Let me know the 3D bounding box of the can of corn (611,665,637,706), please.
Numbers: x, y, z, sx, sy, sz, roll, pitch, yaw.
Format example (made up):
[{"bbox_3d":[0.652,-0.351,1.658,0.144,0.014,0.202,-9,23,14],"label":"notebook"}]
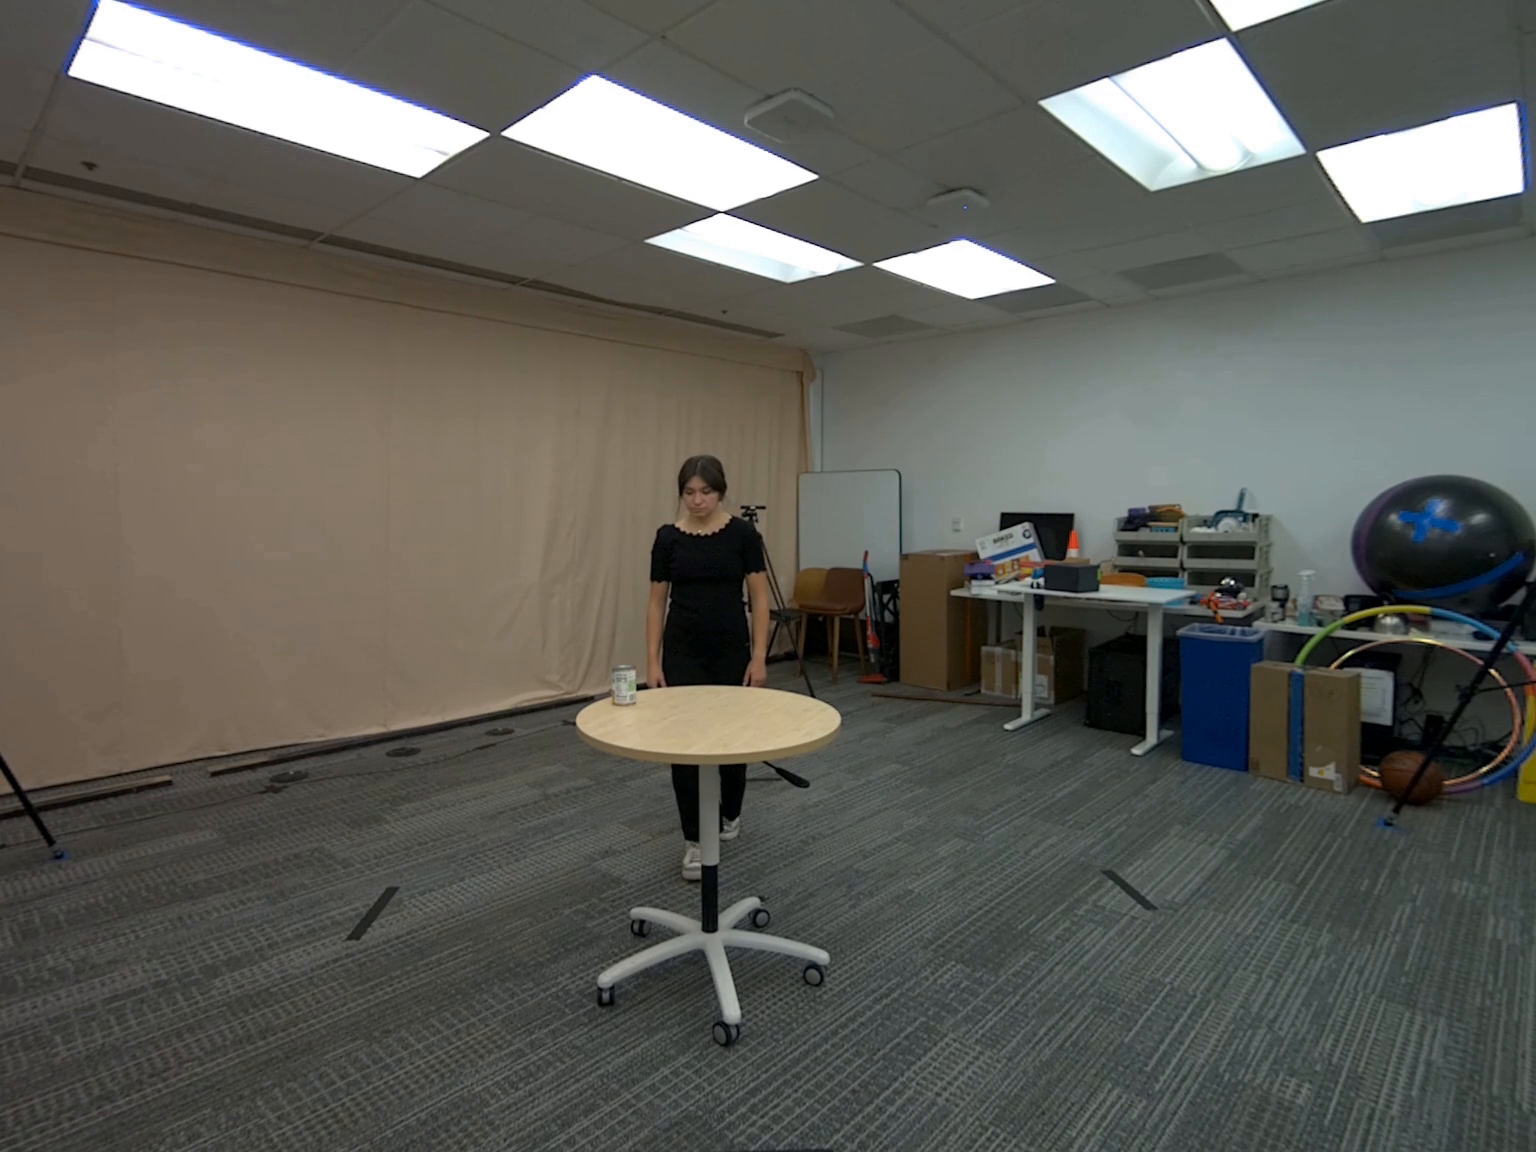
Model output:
[{"bbox_3d":[-0.438,0.336,2.586,0.074,0.110,0.074,-3,6,-2],"label":"can of corn"}]
